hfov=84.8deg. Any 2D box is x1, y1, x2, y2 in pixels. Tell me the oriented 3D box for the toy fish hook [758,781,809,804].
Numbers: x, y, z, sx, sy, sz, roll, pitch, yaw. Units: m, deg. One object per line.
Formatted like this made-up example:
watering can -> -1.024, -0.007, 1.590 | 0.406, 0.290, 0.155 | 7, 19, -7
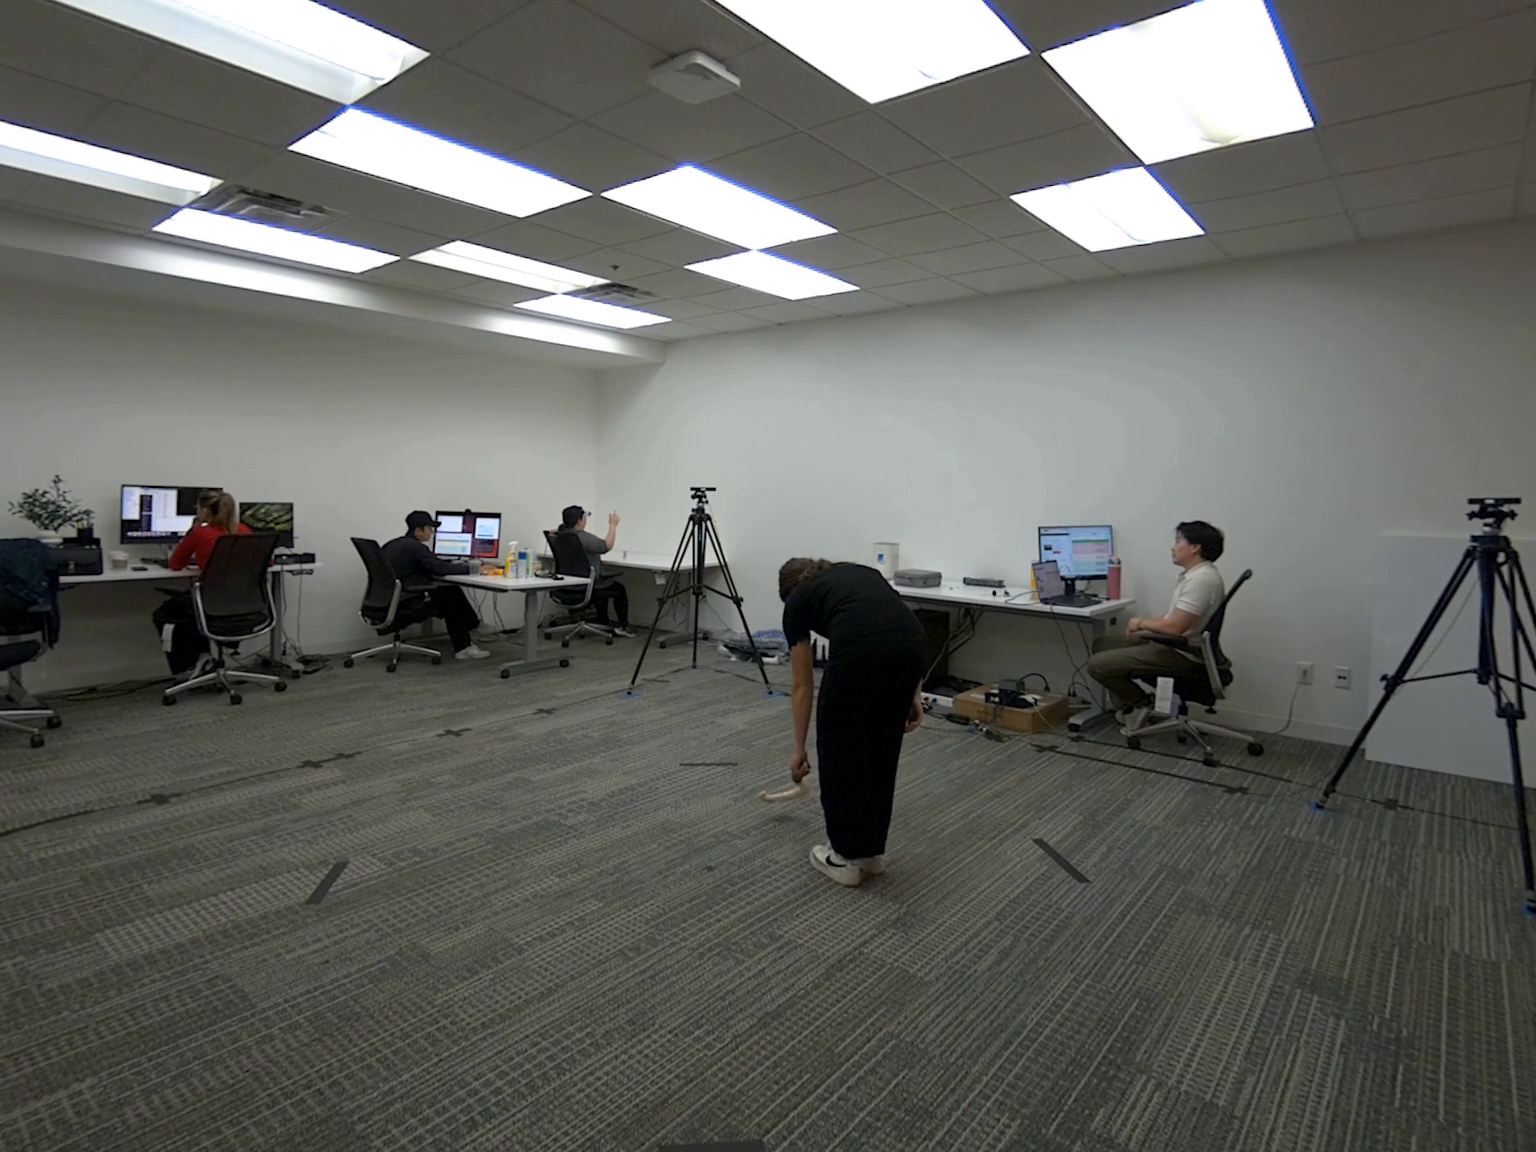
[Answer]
toy fish hook -> 0.057, 0.838, 3.425 | 0.223, 0.050, 0.494 | -12, -29, -9
